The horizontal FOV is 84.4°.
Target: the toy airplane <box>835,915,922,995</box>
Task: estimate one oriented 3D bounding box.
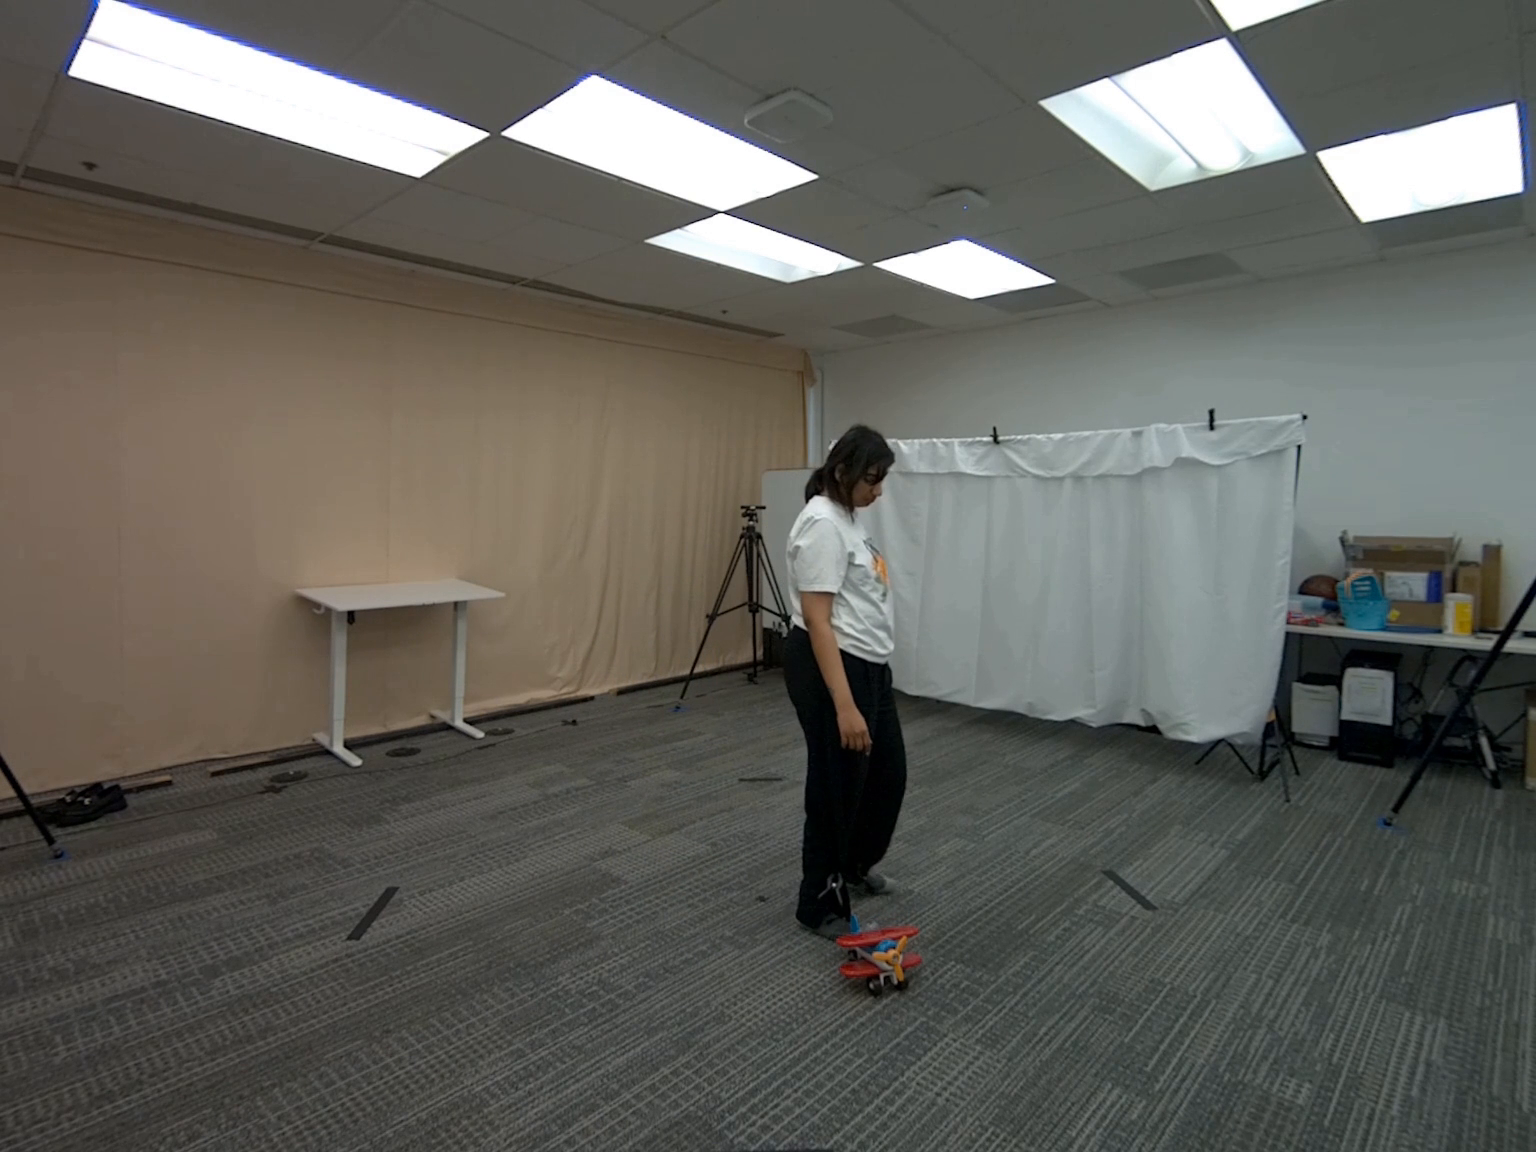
[{"bbox_3d":[0.300,1.110,2.480,0.268,0.156,0.243,5,6,43],"label":"toy airplane"}]
